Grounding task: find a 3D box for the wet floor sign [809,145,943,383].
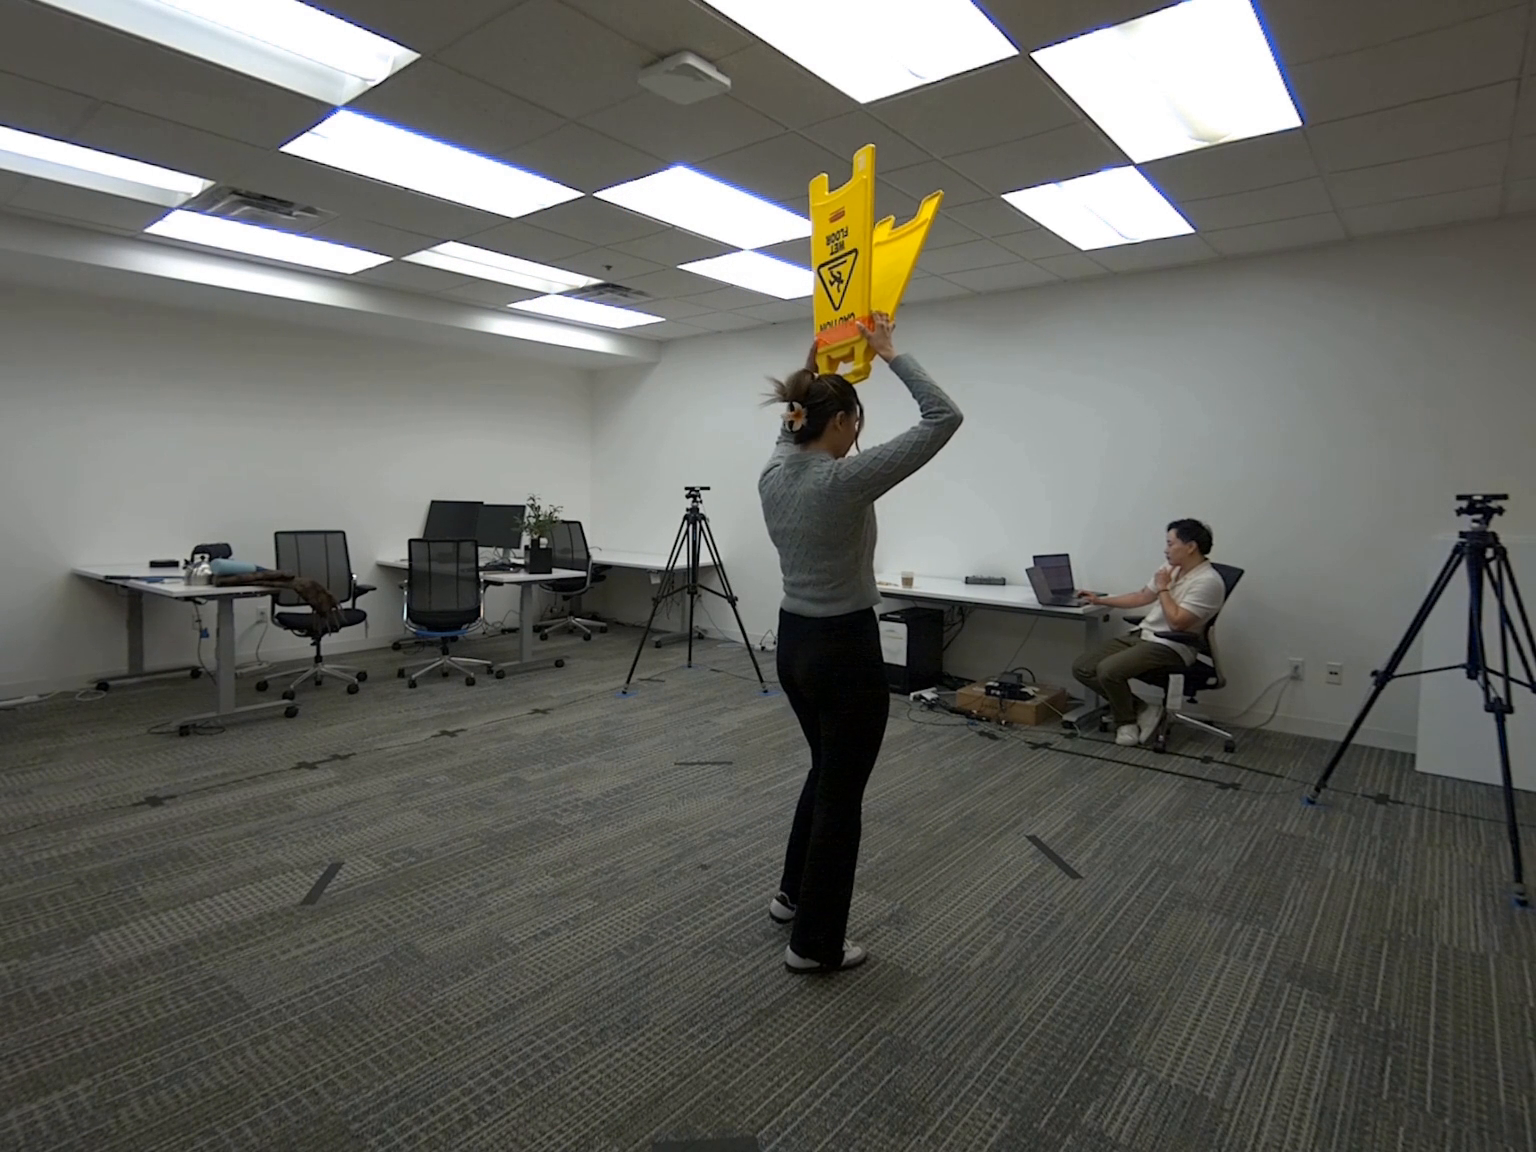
[{"bbox_3d":[0.256,-0.863,2.507,0.280,0.651,0.290,18,-13,-32],"label":"wet floor sign"}]
